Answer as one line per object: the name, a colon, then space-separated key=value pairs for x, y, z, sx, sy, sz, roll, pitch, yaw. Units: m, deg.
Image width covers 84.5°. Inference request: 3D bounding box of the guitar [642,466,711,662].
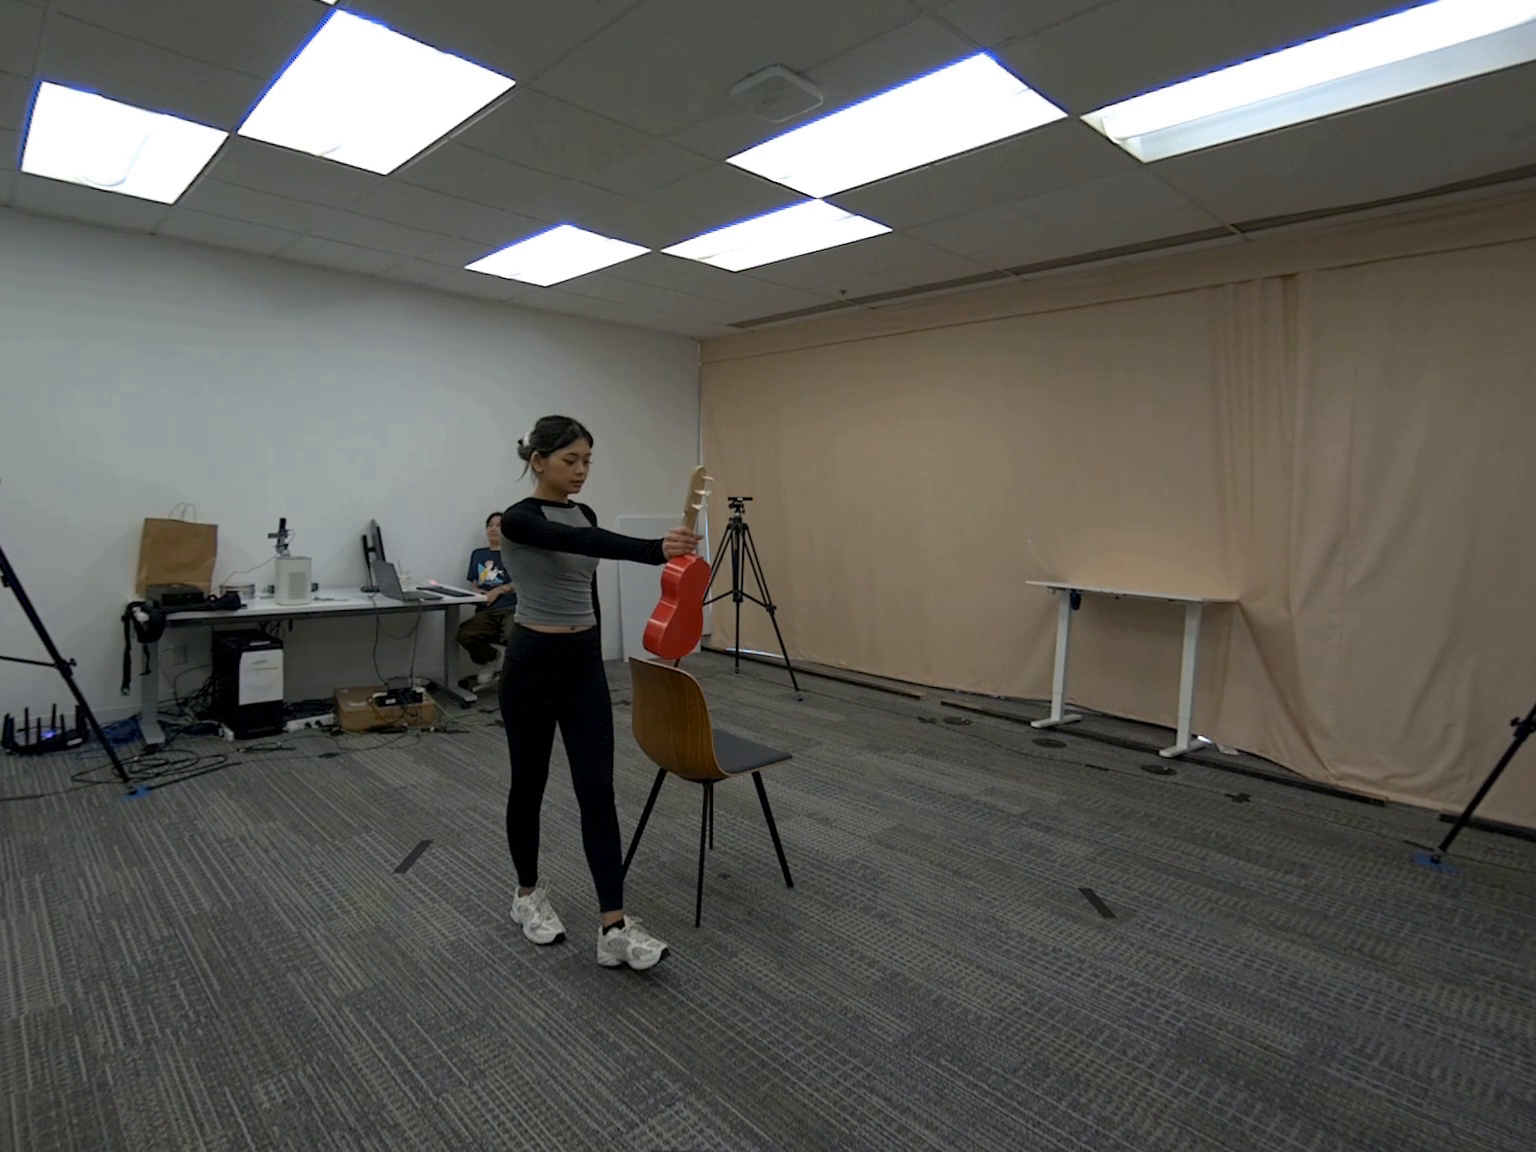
guitar: x=-0.226 y=-0.022 z=2.139 sx=0.072 sy=0.493 sz=0.190 roll=17 pitch=18 yaw=24
